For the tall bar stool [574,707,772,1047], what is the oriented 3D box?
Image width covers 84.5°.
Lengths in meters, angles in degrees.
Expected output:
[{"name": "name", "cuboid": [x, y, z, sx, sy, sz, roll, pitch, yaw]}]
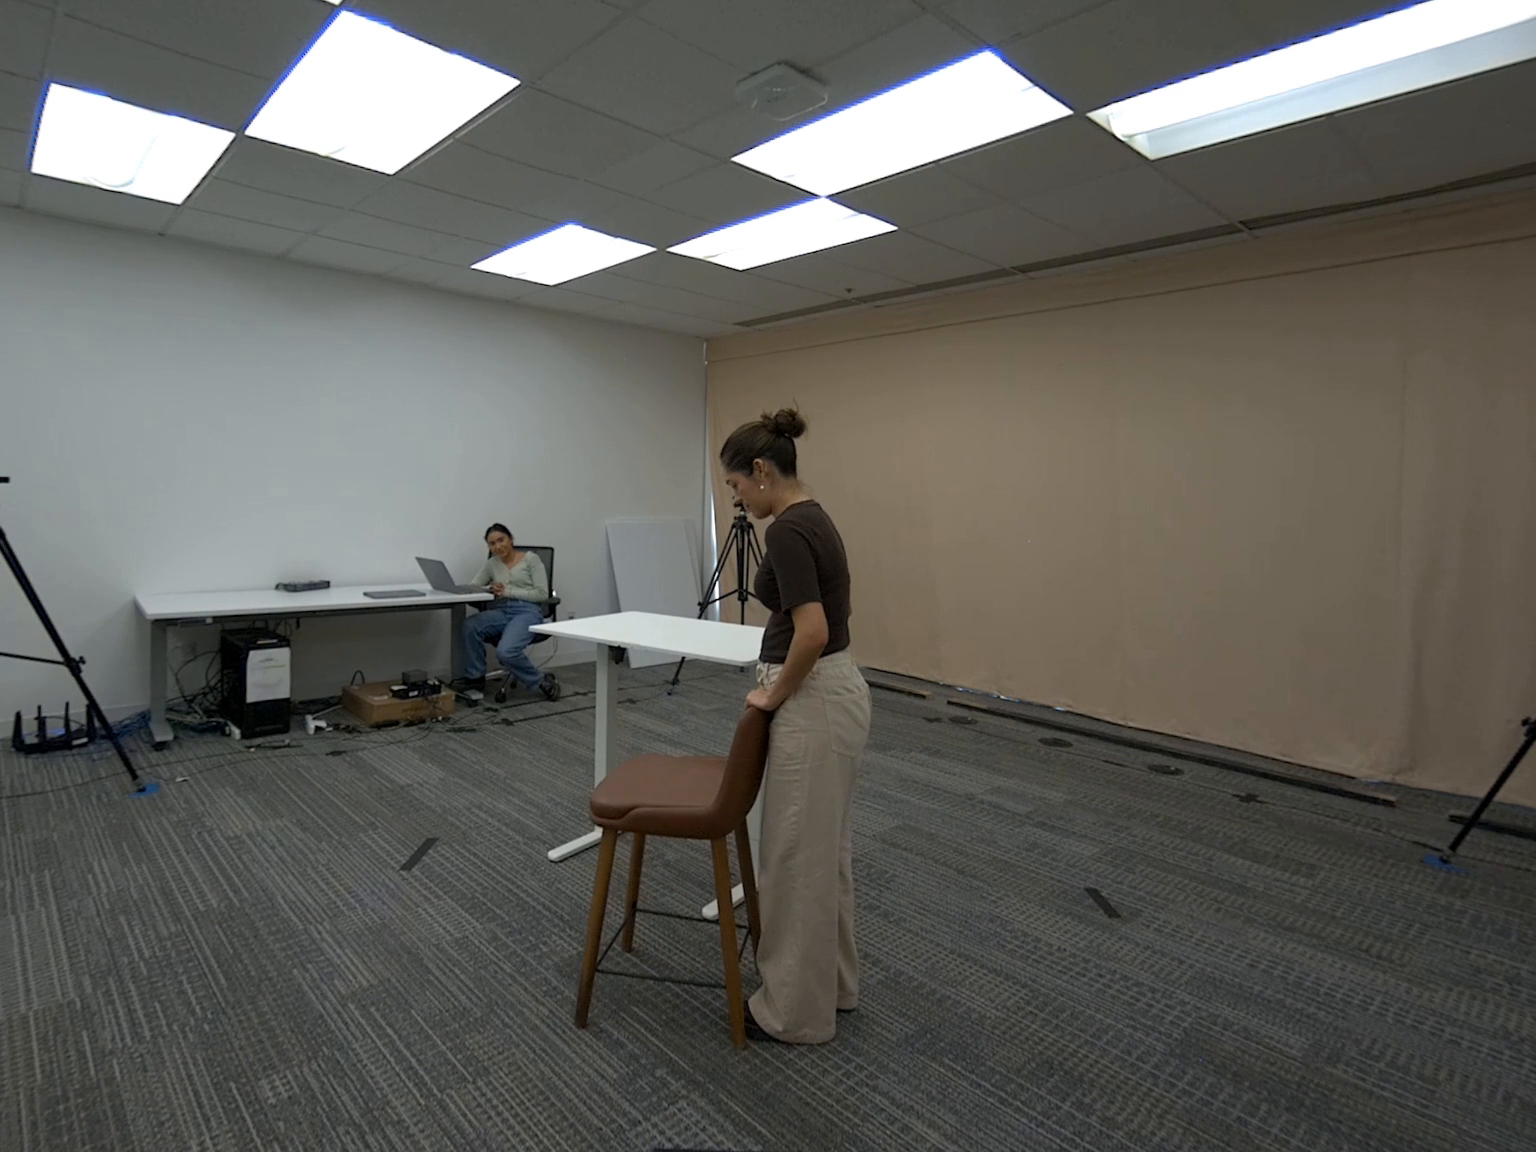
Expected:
[{"name": "tall bar stool", "cuboid": [-0.237, 0.739, 2.316, 0.472, 0.887, 0.453, 4, 5, 11]}]
